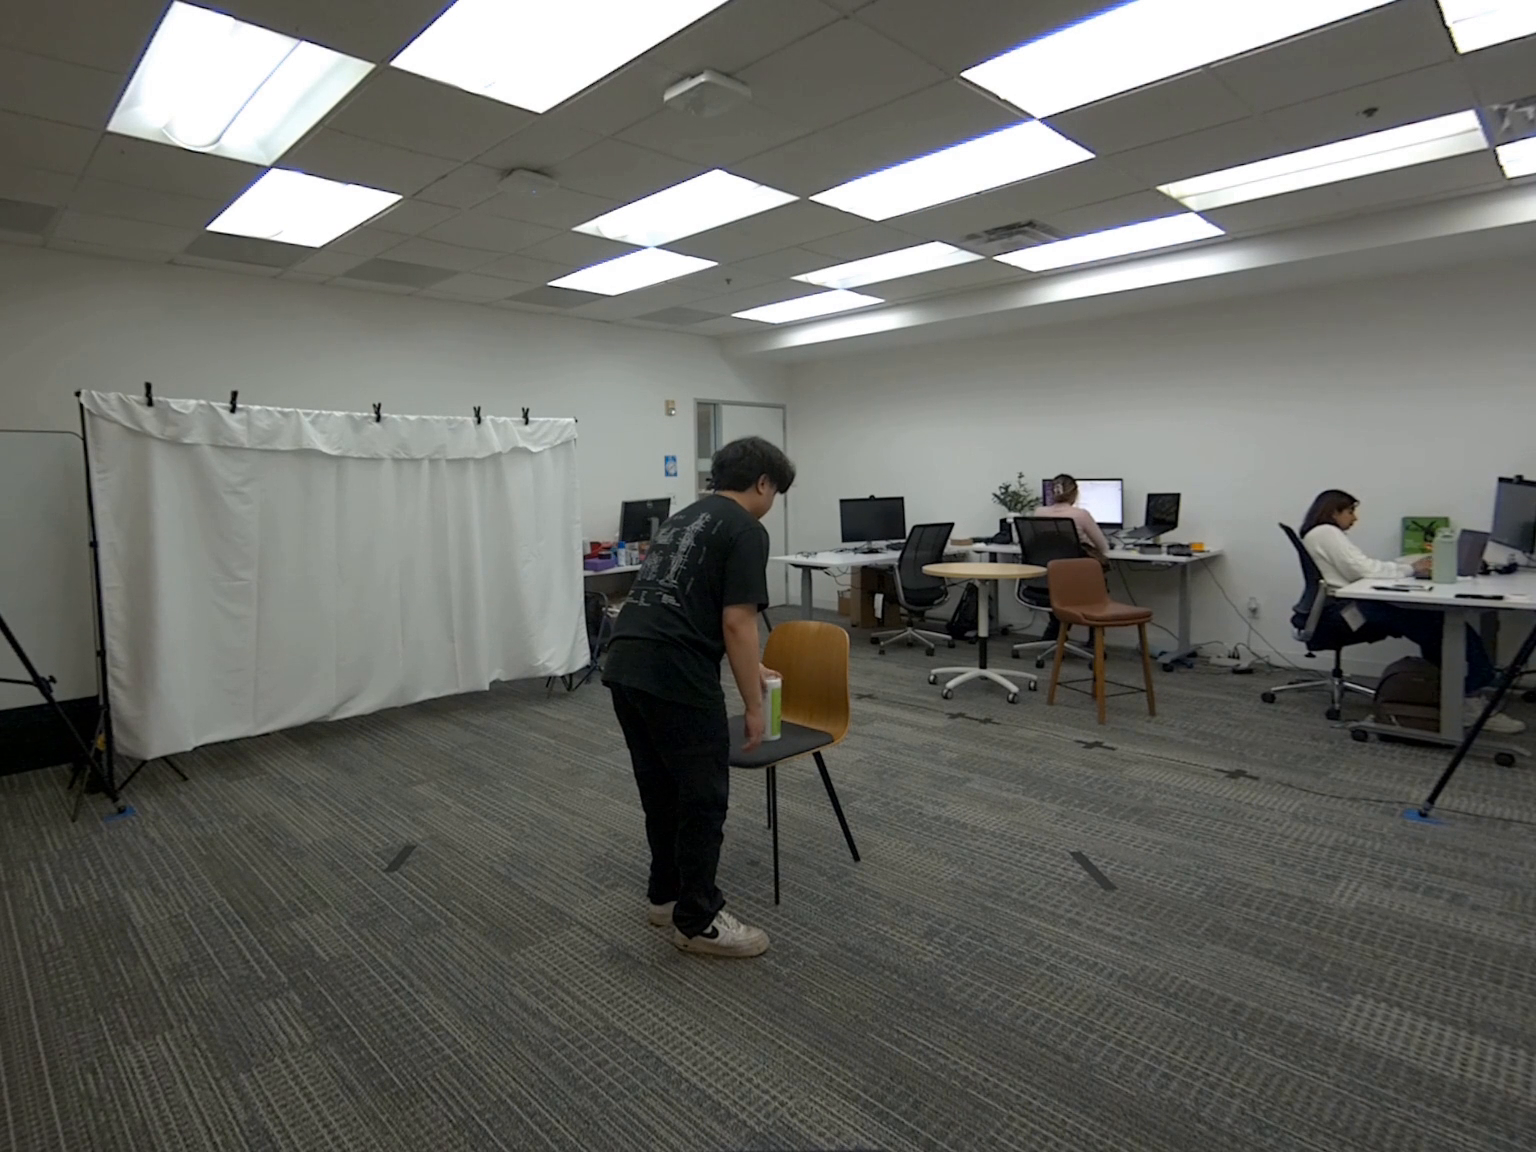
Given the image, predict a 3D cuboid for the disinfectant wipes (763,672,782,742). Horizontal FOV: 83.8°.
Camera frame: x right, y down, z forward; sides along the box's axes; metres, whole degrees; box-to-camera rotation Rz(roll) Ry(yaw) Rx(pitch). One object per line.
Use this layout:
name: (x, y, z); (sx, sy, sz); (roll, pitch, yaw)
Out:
disinfectant wipes: (-0.010, 0.474, 3.037); (0.118, 0.217, 0.118); (1, 4, -2)
